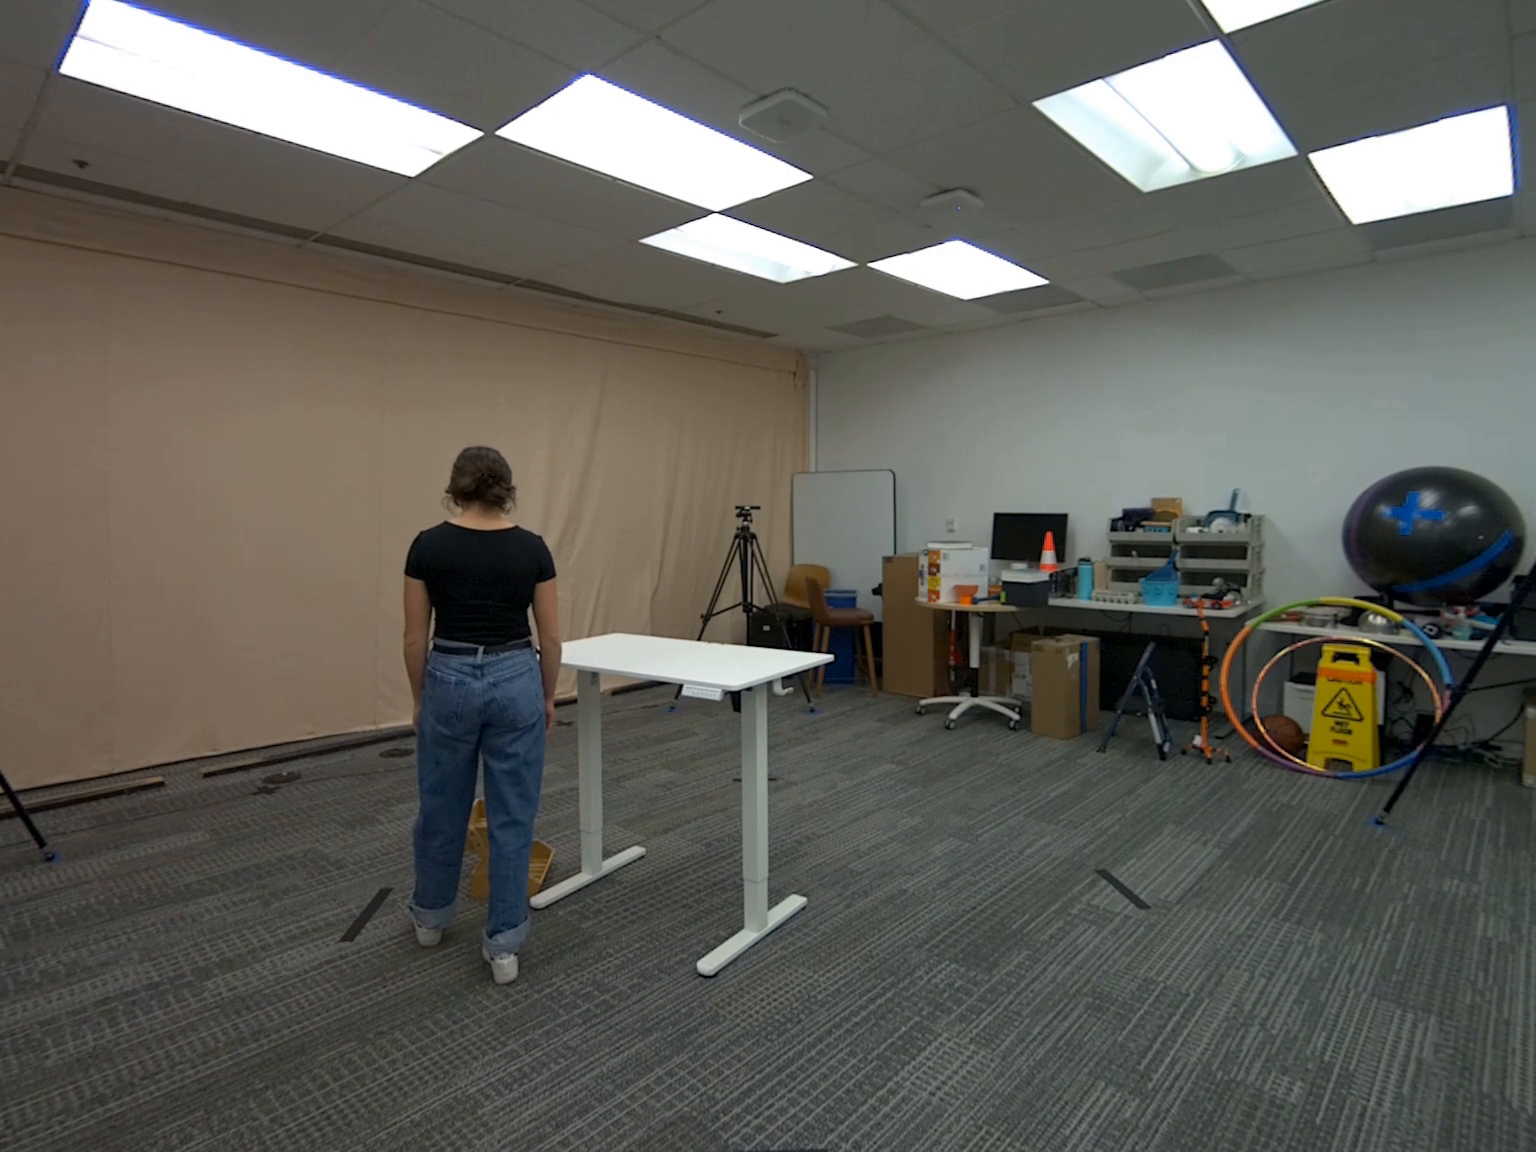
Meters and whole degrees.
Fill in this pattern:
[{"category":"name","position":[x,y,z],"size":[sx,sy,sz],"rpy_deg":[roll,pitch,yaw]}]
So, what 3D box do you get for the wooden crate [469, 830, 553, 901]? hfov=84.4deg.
[{"category":"wooden crate","position":[-0.956,0.997,3.144],"size":[0.301,0.273,0.326],"rpy_deg":[-1,4,-4]}]
